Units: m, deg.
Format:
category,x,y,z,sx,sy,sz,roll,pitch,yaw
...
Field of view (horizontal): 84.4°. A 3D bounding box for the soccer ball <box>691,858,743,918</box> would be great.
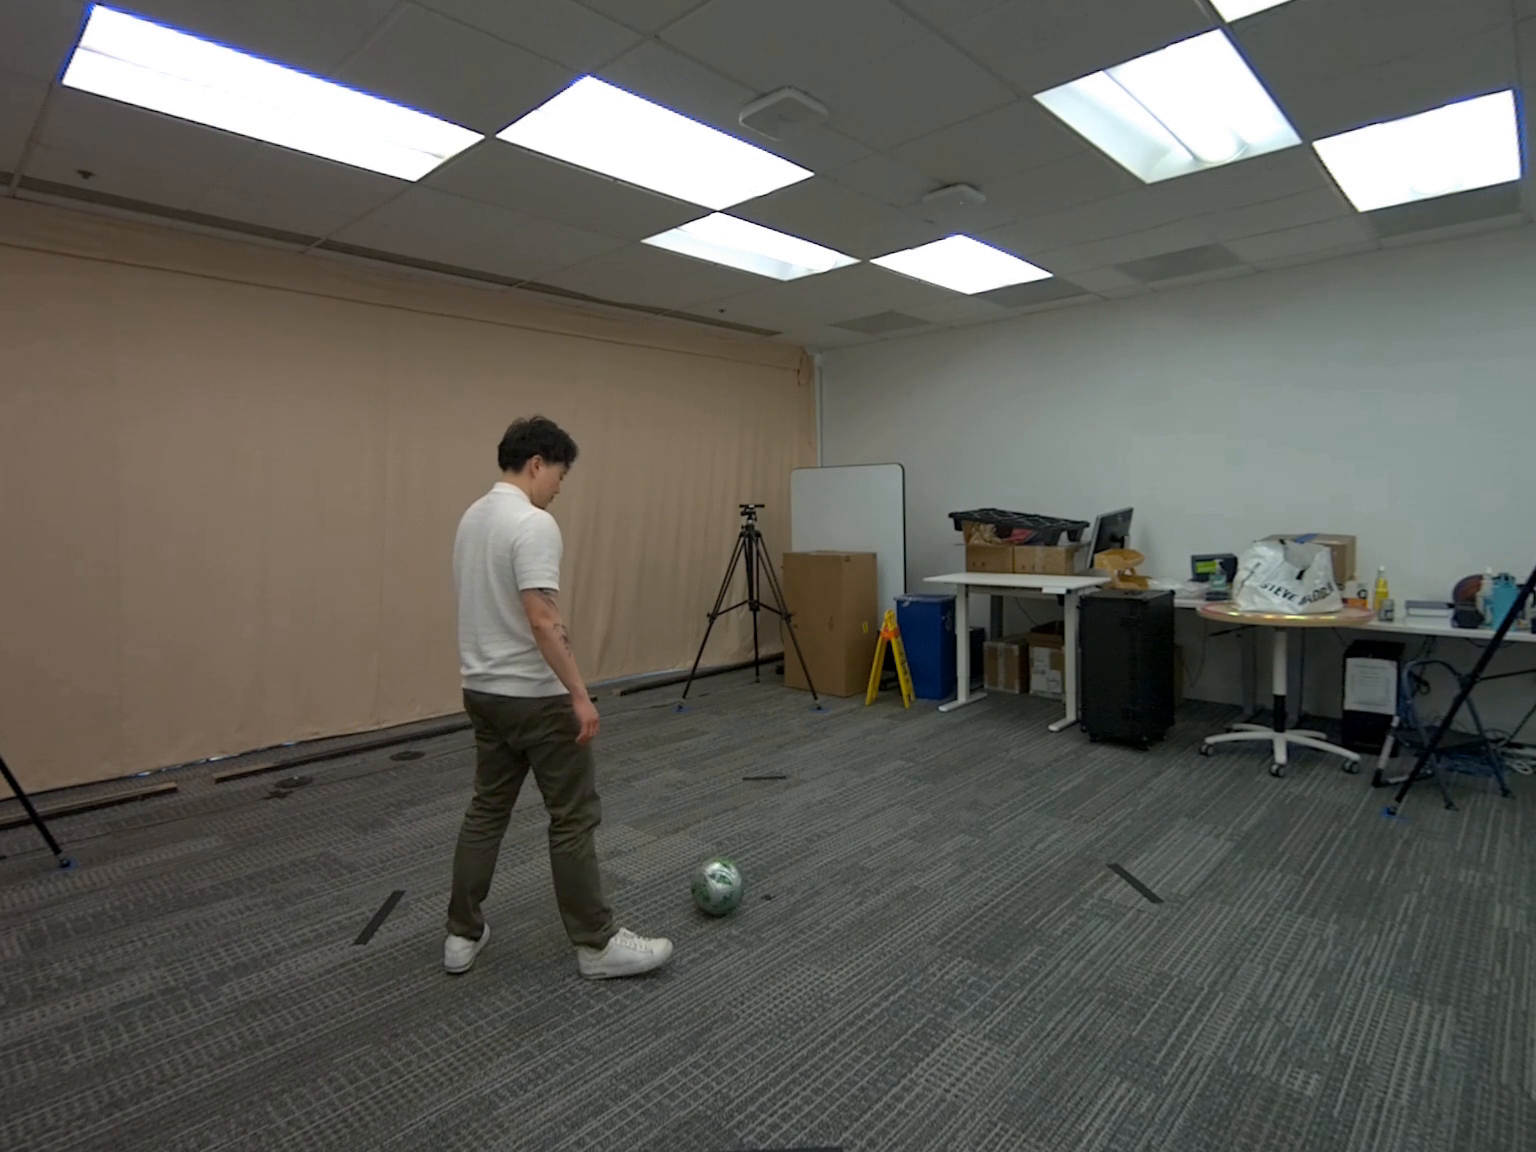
category,x,y,z,sx,sy,sz,roll,pitch,yaw
soccer ball,-0.170,1.056,2.880,0.187,0.187,0.188,-1,4,-2
